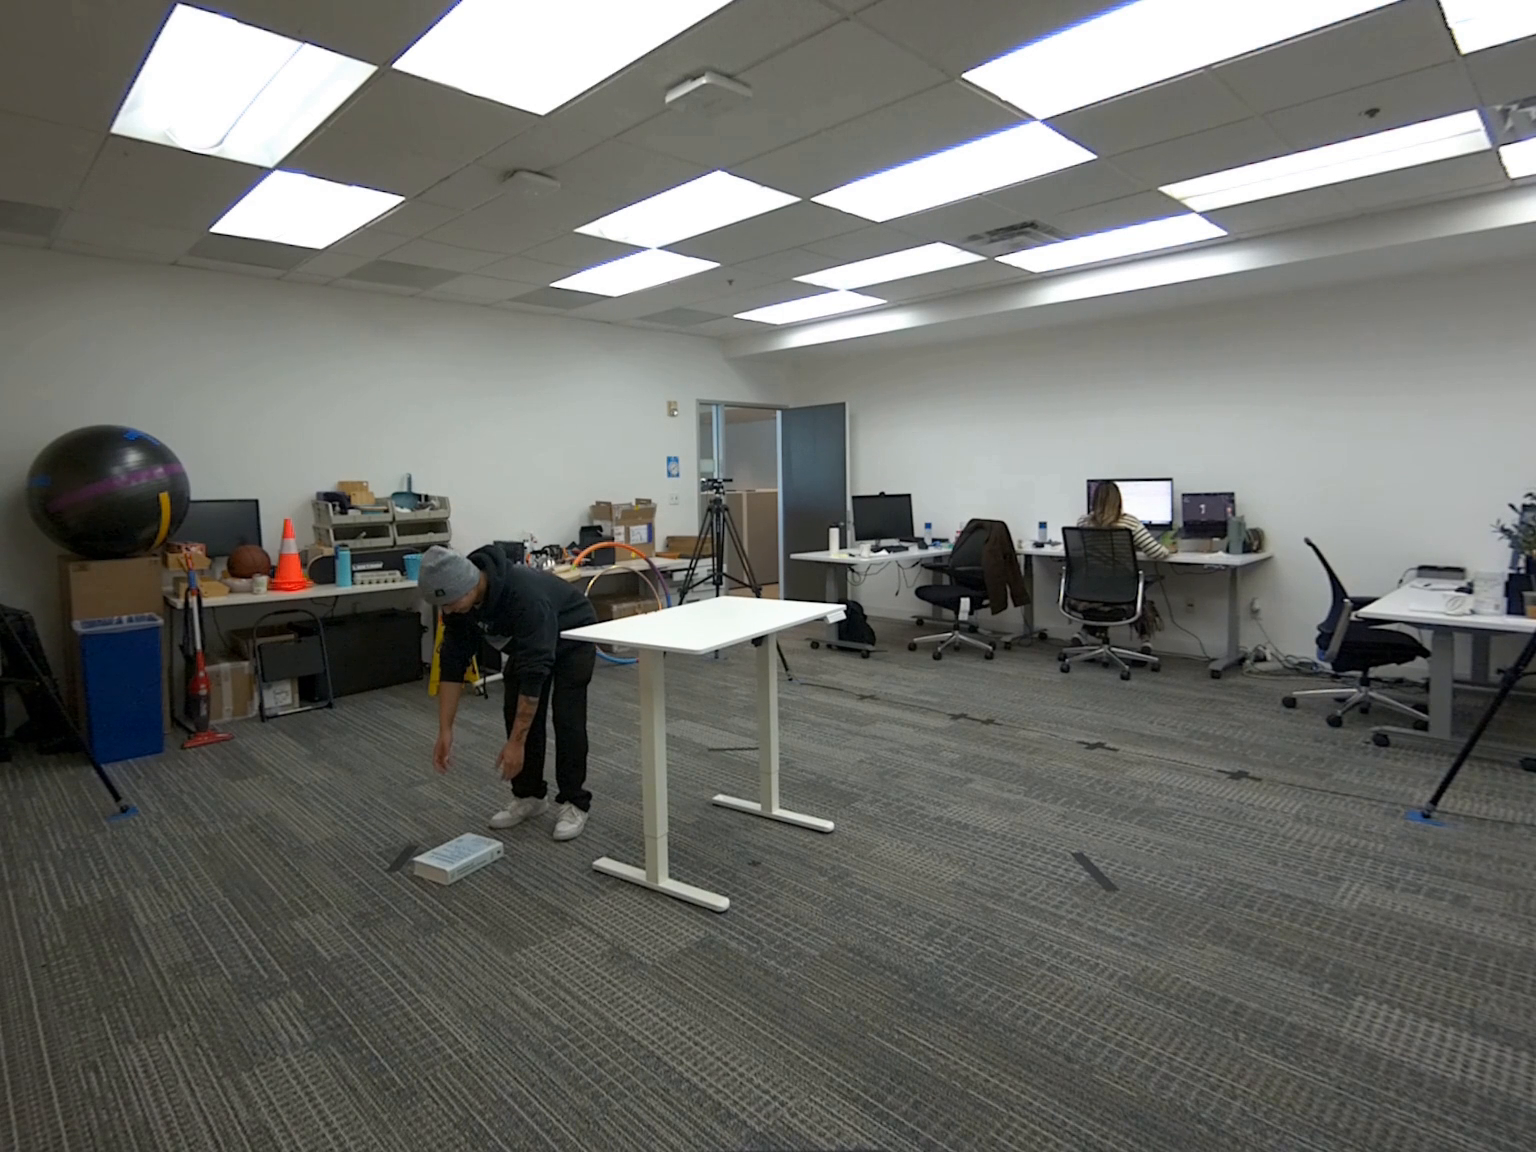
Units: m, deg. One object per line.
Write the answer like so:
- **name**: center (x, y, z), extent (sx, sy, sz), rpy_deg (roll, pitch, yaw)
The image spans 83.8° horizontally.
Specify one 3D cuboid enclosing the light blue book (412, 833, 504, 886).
- **light blue book**: center (-1.136, 1.038, 3.136), extent (0.196, 0.059, 0.255), rpy_deg (2, 7, 30)
